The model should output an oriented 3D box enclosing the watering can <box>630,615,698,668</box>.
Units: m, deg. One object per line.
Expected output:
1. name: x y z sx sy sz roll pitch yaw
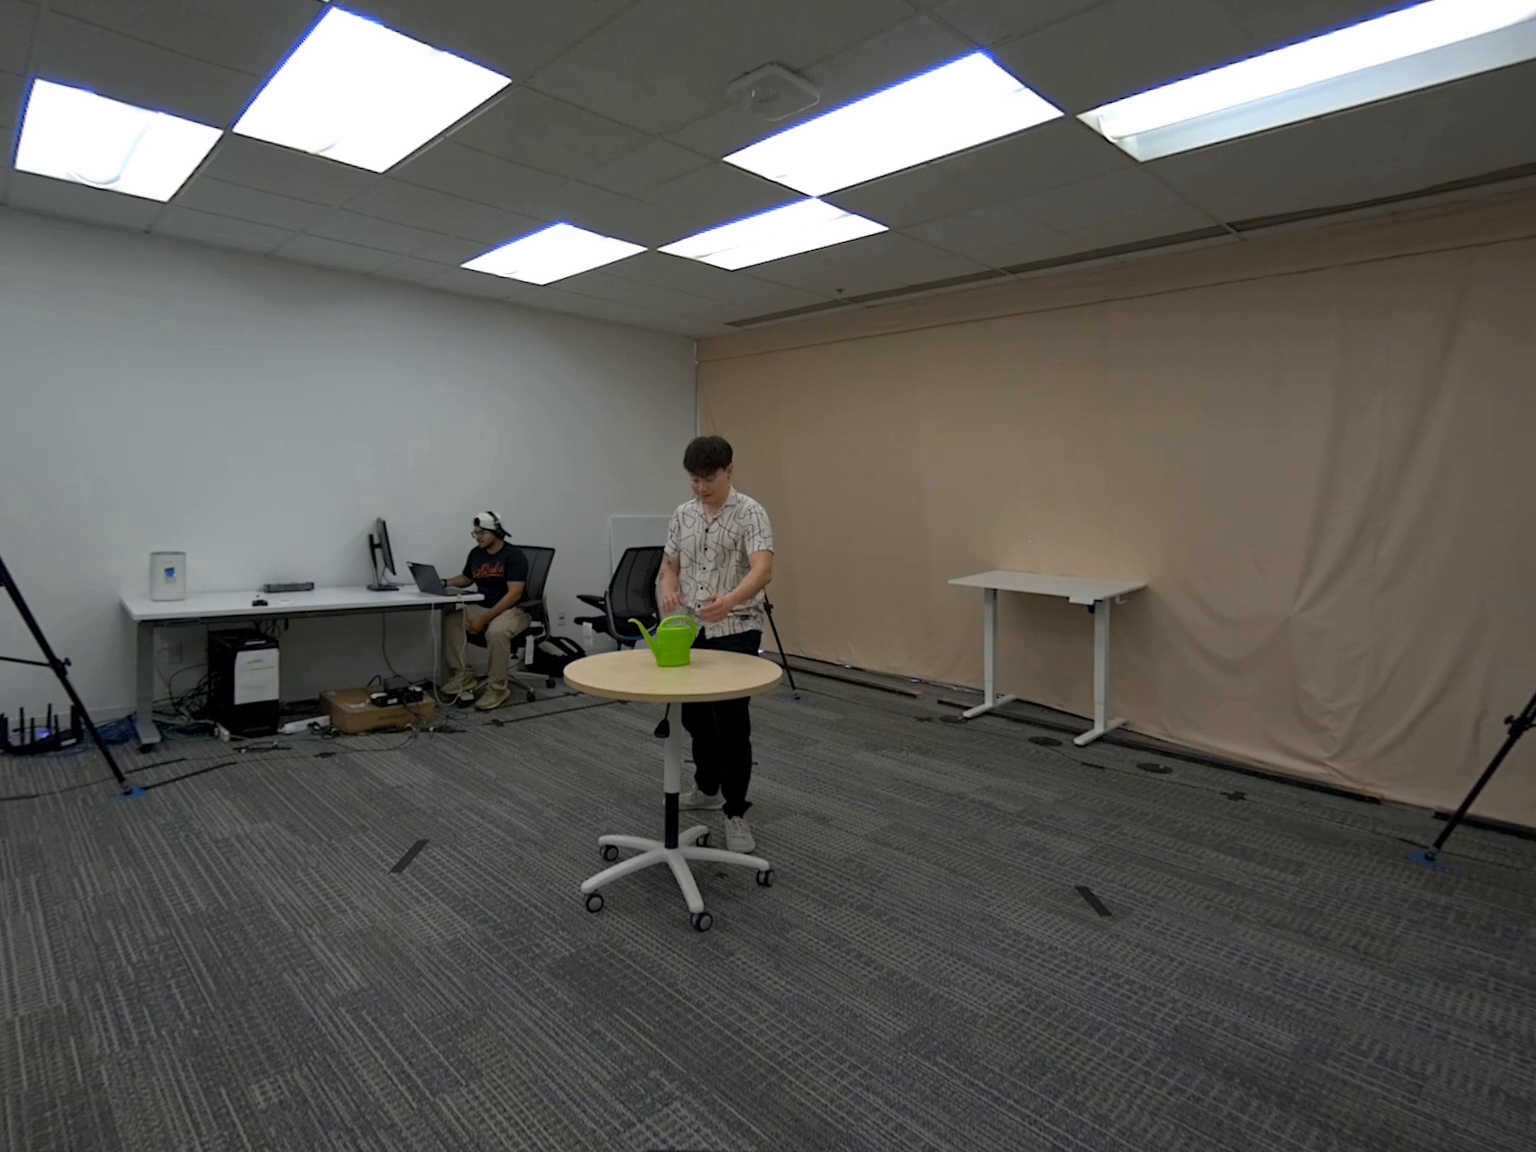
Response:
1. watering can: -0.392 0.233 3.027 0.273 0.176 0.100 2 2 -22
